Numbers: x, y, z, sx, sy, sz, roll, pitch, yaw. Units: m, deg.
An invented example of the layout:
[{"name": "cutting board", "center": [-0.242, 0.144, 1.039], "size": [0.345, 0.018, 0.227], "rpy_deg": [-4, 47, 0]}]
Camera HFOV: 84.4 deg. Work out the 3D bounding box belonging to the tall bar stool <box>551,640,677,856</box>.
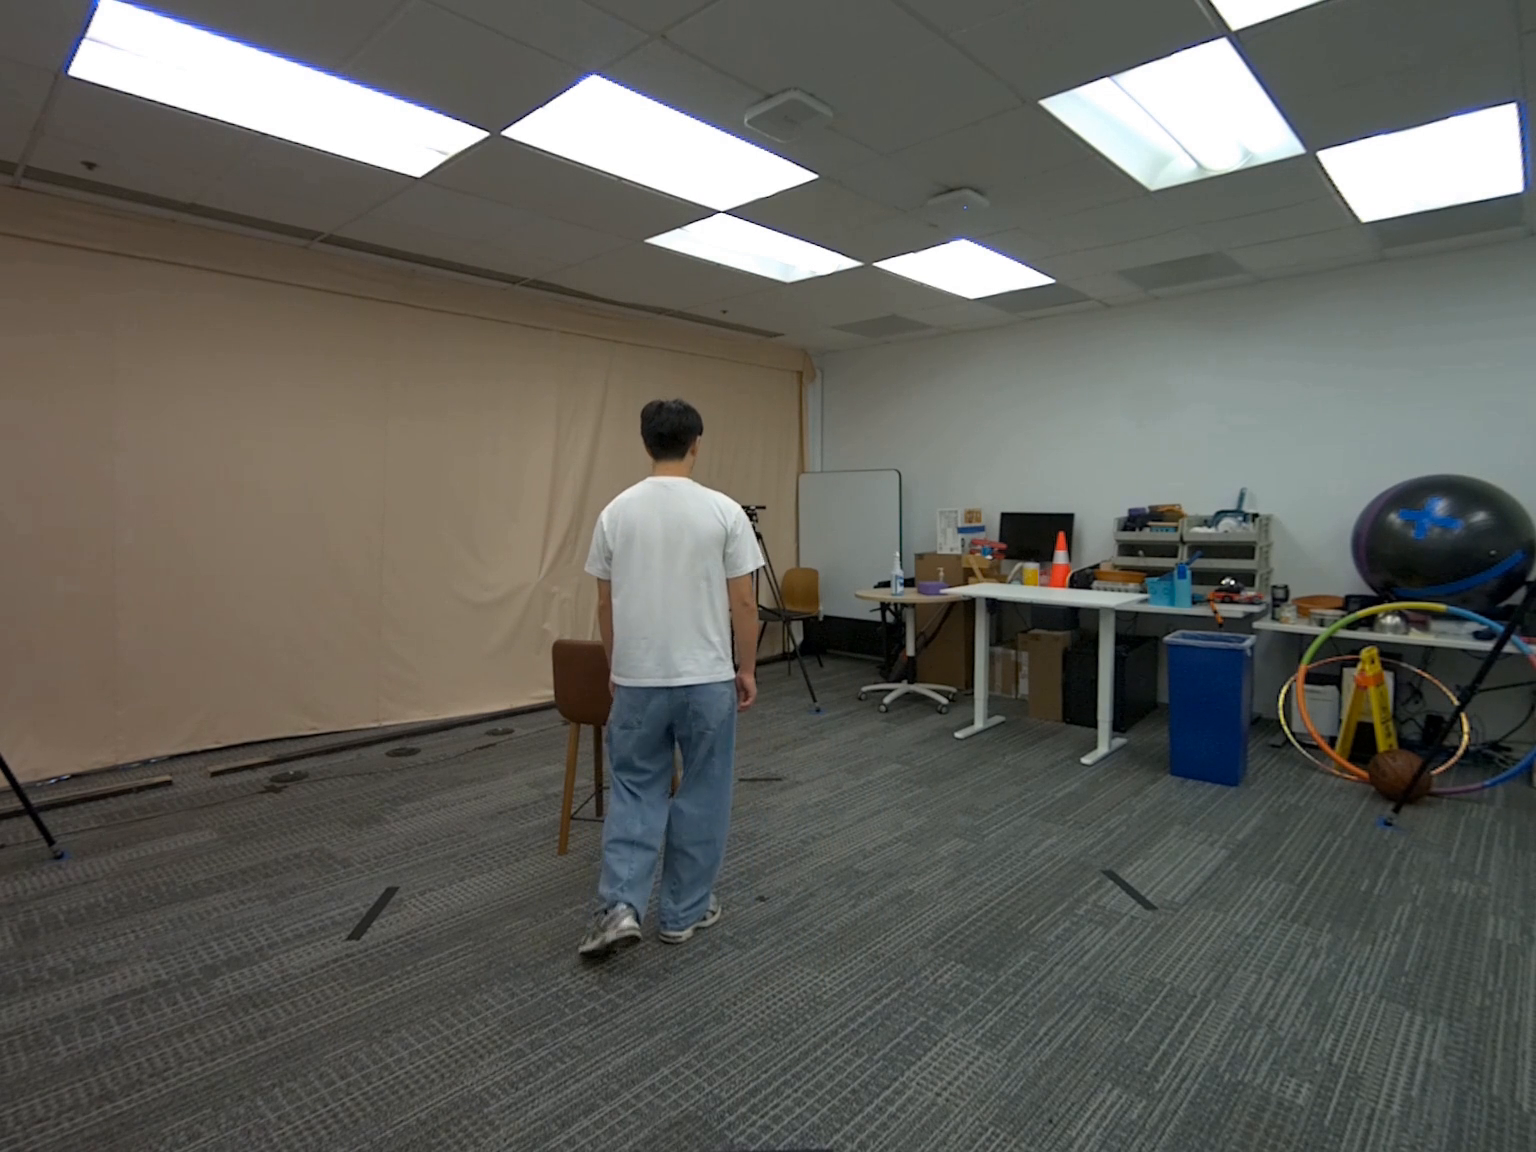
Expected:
[{"name": "tall bar stool", "center": [-0.630, 0.668, 3.511], "size": [0.464, 0.887, 0.462], "rpy_deg": [0, 5, 14]}]
